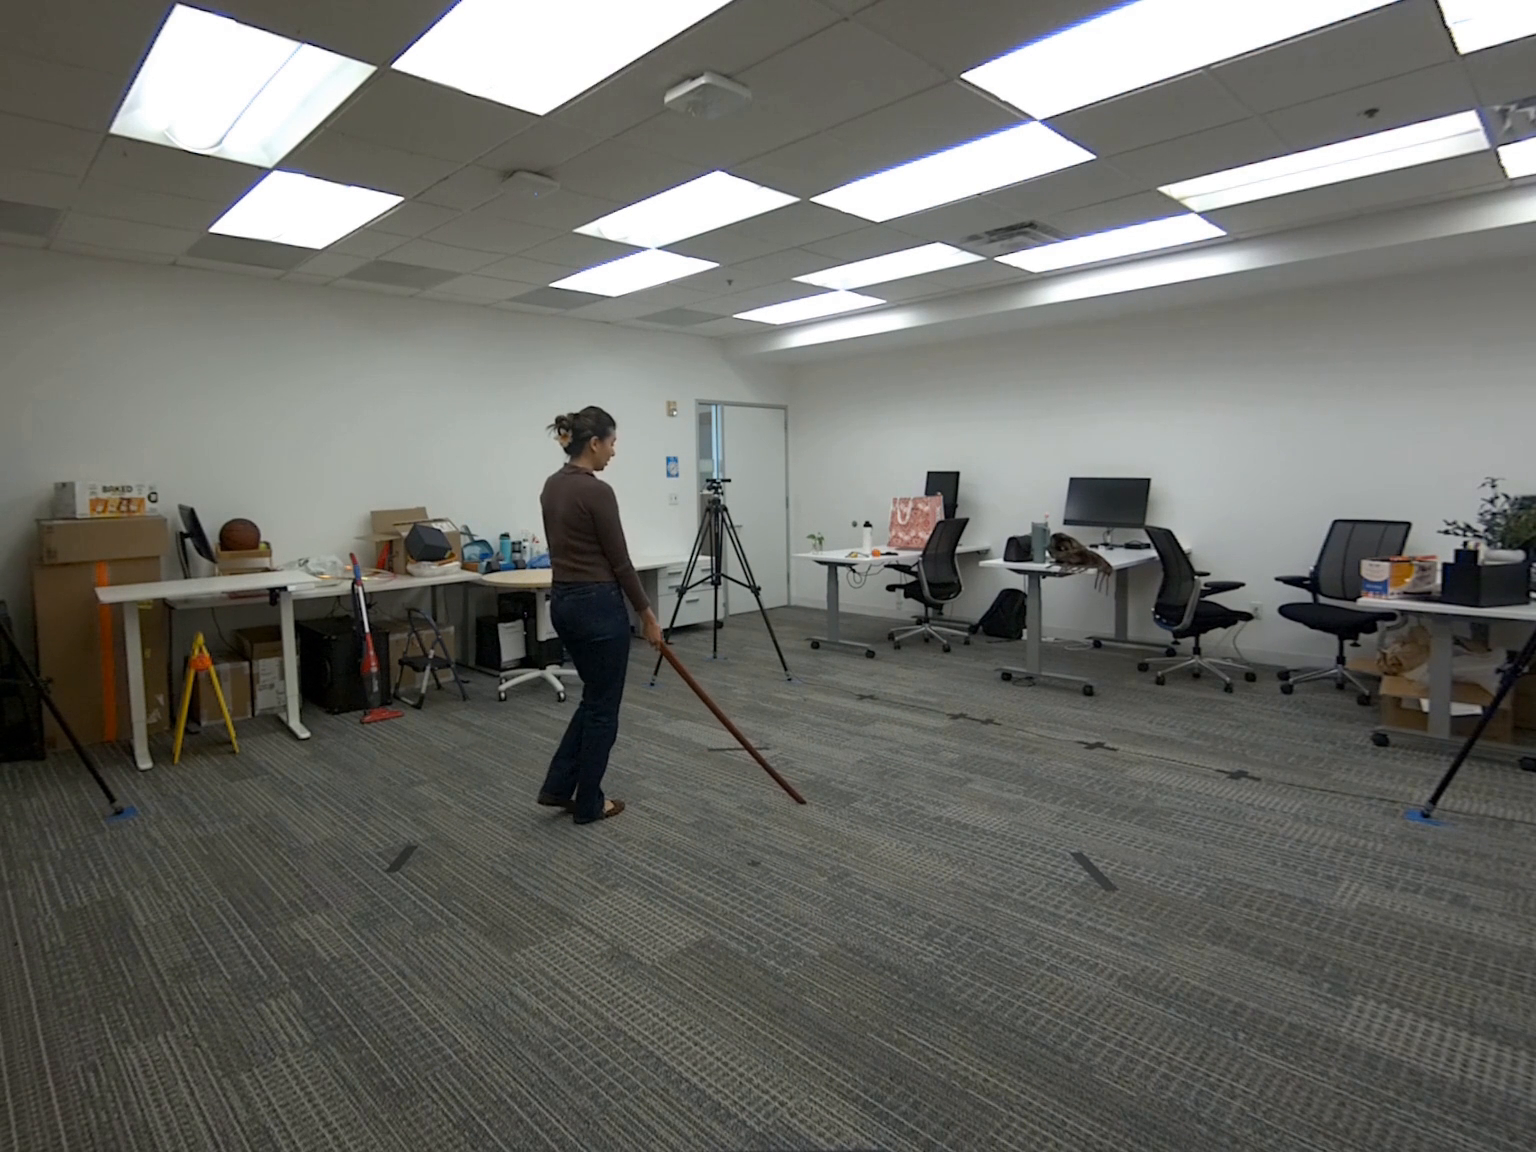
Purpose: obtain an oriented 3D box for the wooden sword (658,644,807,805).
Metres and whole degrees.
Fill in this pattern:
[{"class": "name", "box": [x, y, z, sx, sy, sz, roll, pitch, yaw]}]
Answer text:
[{"class": "wooden sword", "box": [-0.177, 0.601, 3.594, 0.024, 1.010, 0.052, -43, 11, -15]}]
